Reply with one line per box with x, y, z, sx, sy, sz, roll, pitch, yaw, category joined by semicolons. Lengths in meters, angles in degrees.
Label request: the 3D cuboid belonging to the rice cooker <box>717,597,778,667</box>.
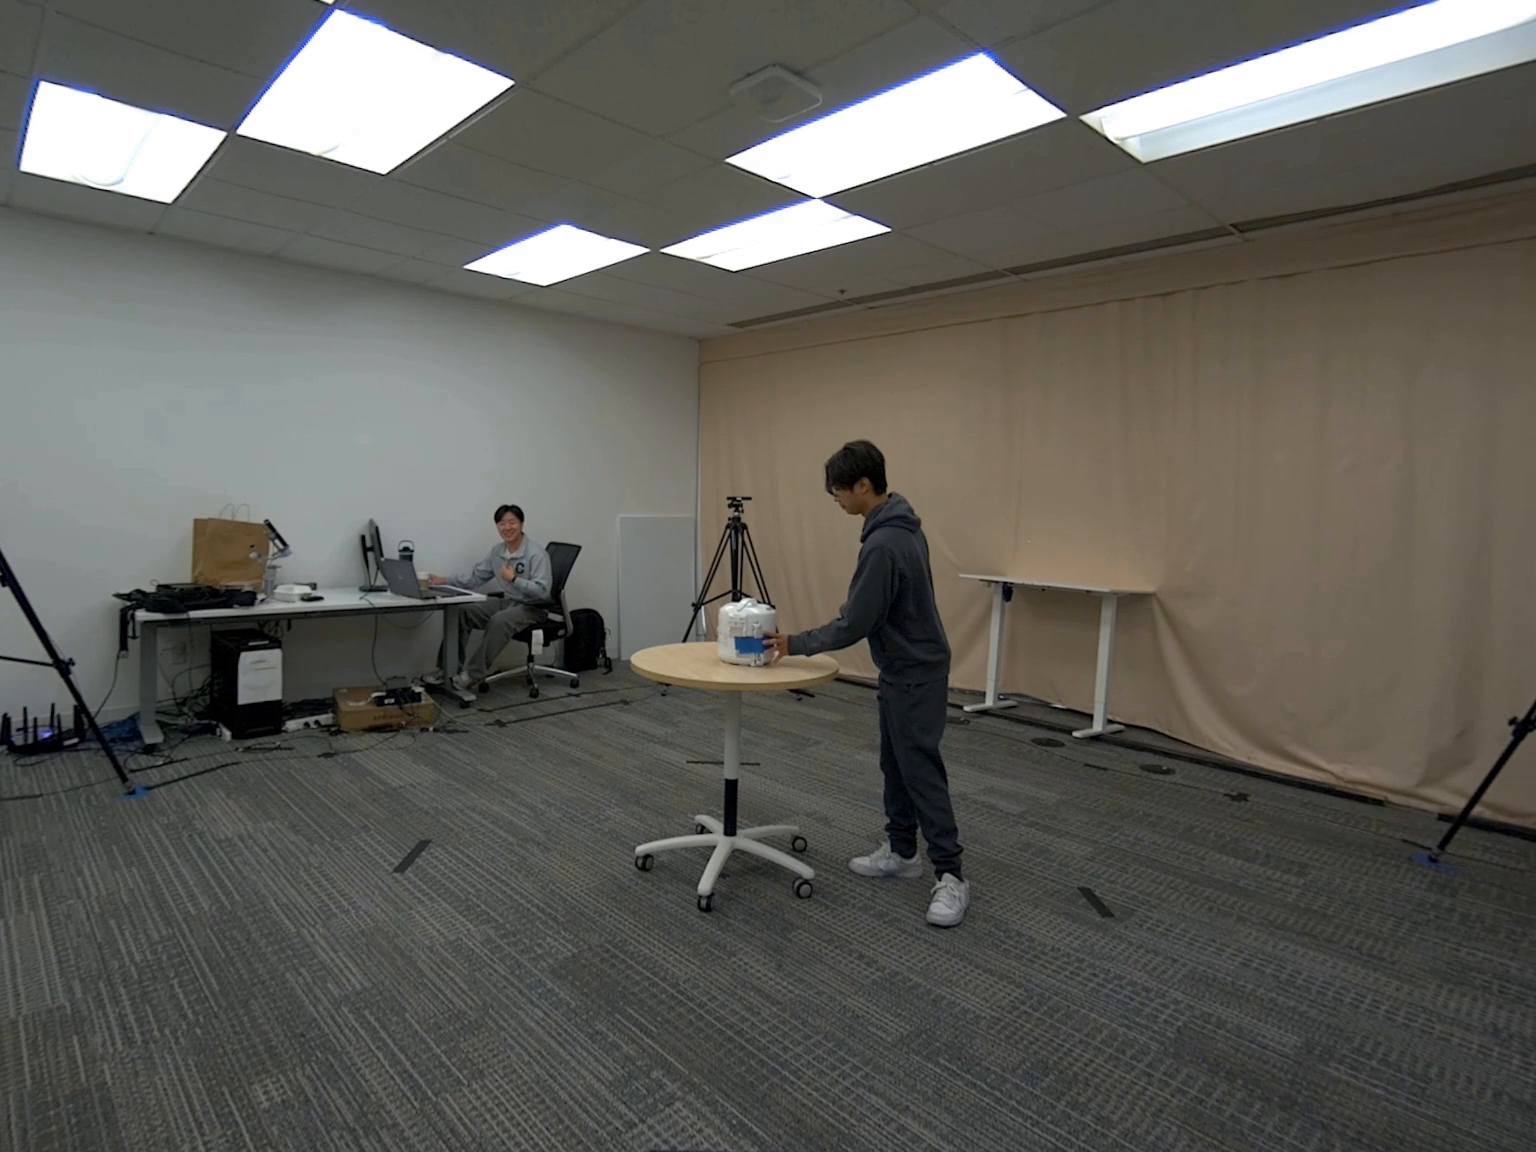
-0.080;0.197;3.074;0.221;0.232;0.217;4;5;22;rice cooker
